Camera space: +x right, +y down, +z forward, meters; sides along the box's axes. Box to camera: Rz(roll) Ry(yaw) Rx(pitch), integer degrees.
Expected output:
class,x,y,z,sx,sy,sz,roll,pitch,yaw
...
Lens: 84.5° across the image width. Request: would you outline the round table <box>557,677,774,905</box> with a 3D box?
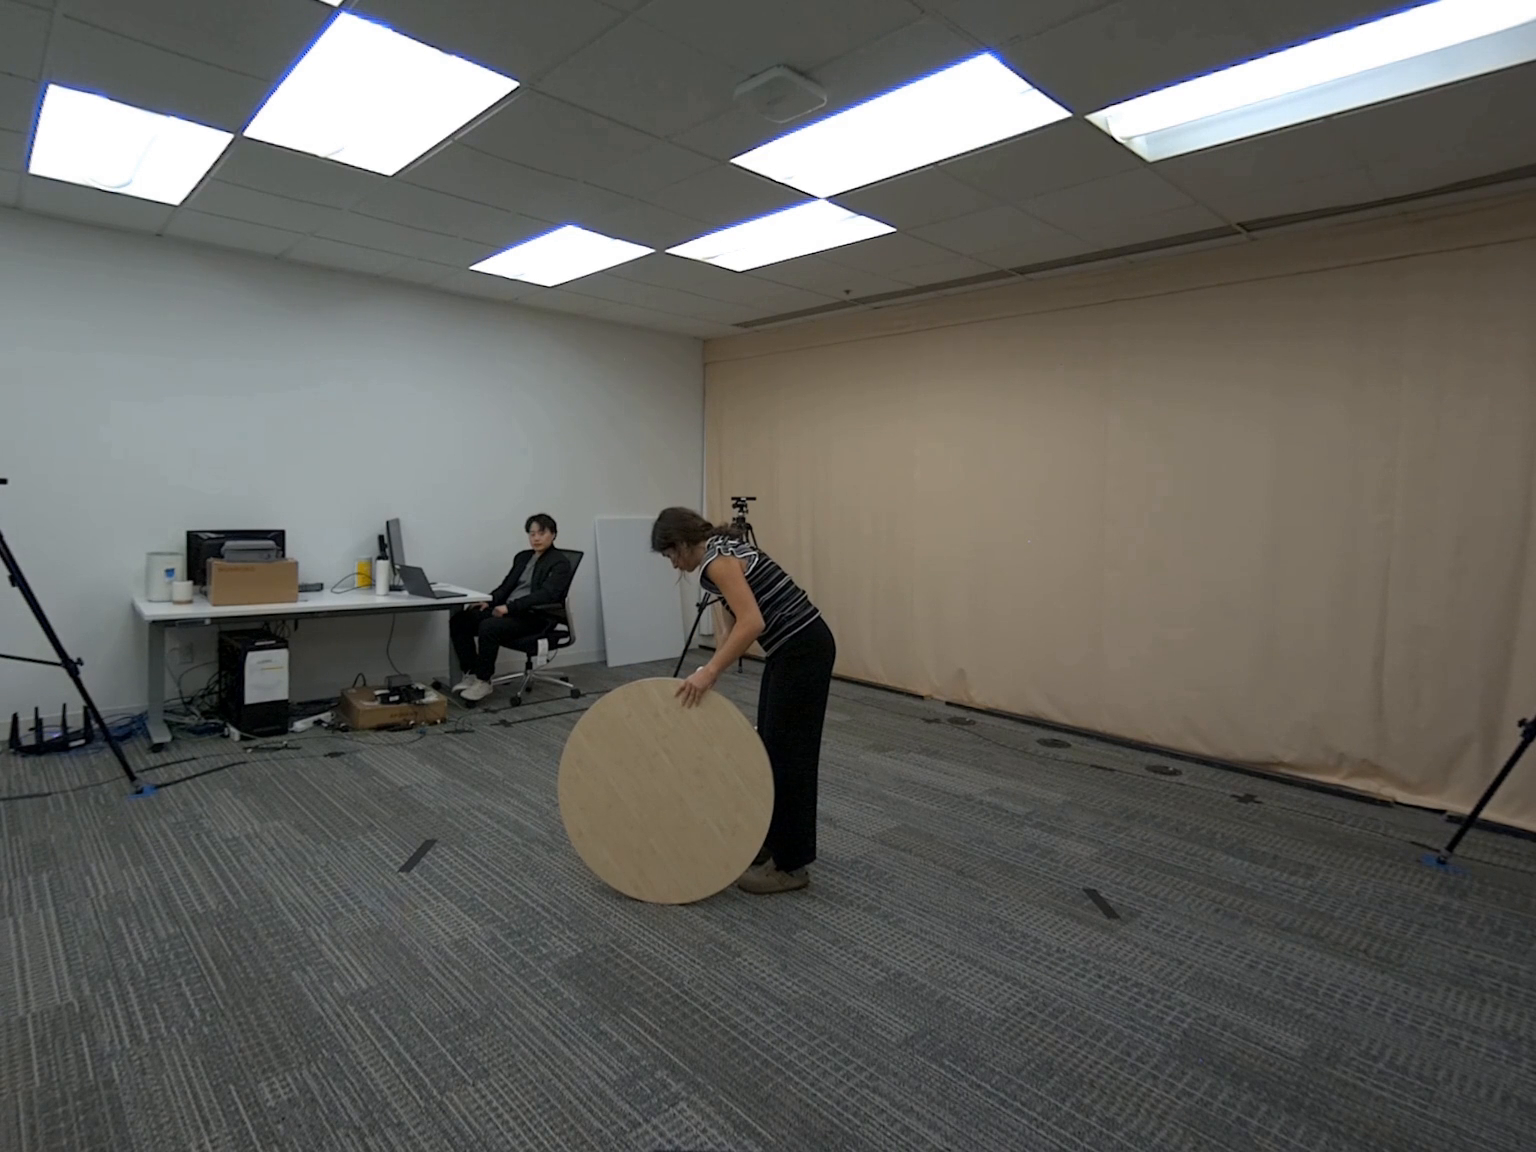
class,x,y,z,sx,sy,sz,roll,pitch,yaw
round table,-0.326,0.755,3.294,0.770,0.765,0.787,2,-1,8
